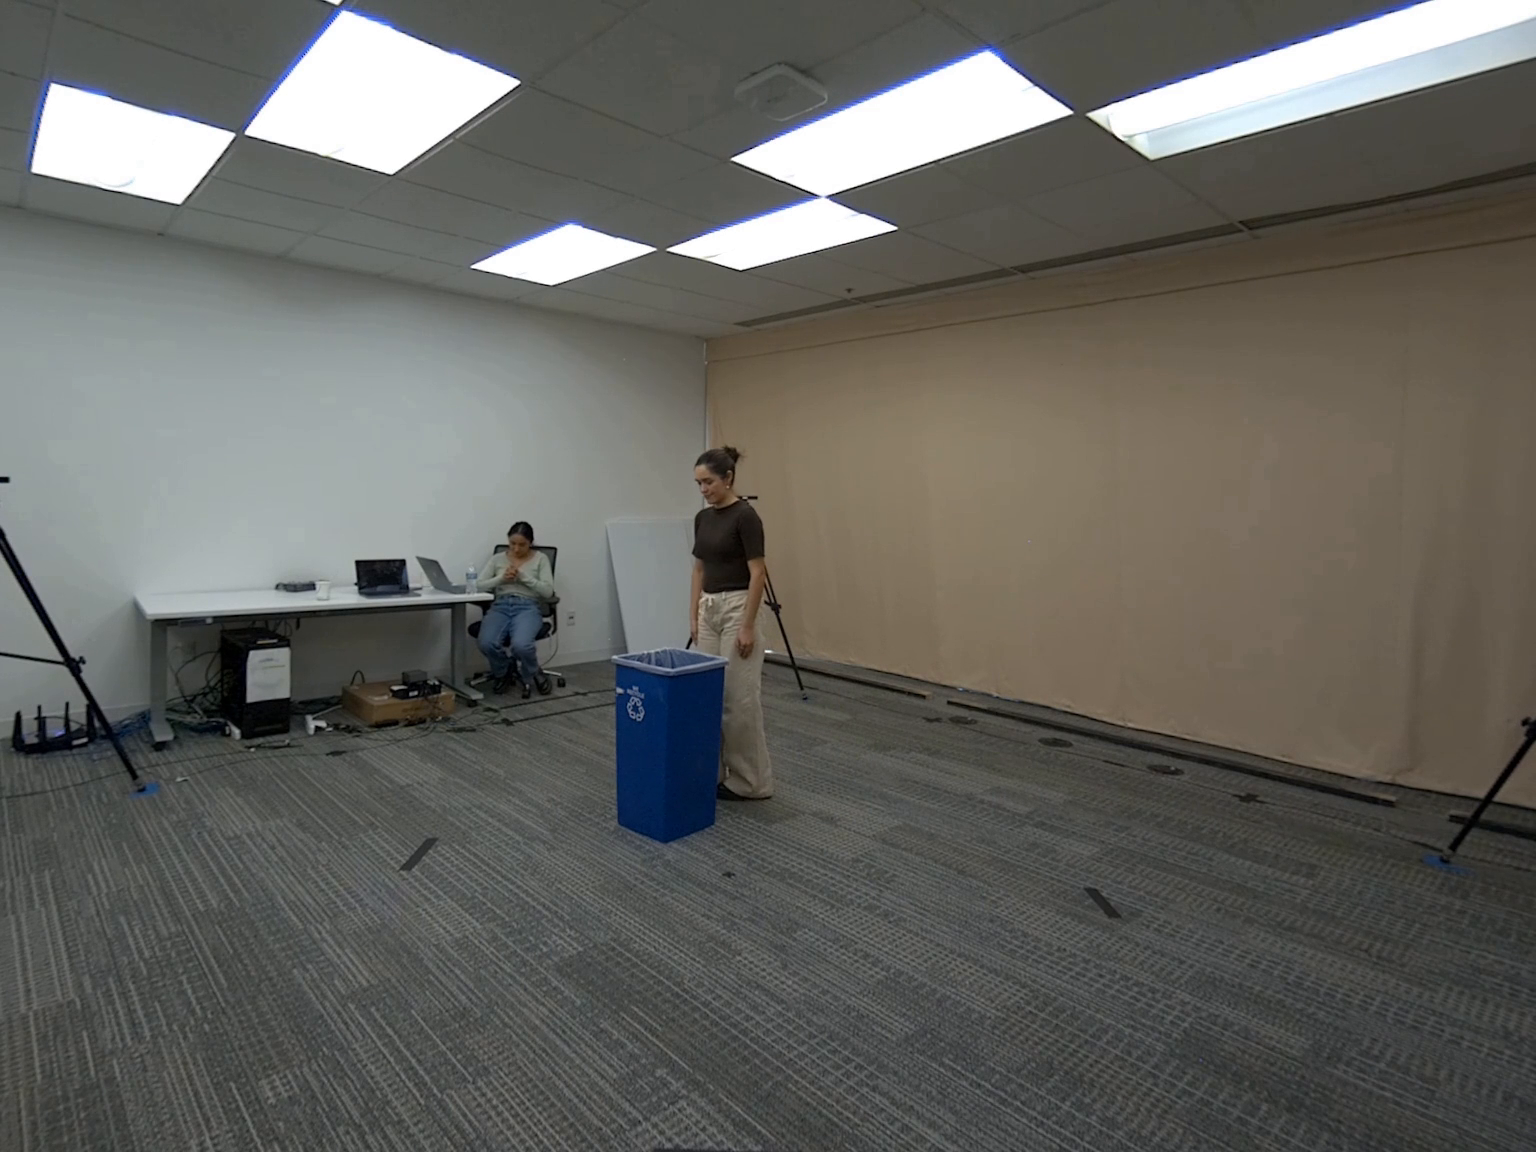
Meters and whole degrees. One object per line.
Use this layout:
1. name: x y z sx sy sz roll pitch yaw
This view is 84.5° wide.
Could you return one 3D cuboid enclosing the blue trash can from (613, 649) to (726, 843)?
1. blue trash can: -0.423 0.696 3.553 0.383 0.712 0.369 4 5 41
